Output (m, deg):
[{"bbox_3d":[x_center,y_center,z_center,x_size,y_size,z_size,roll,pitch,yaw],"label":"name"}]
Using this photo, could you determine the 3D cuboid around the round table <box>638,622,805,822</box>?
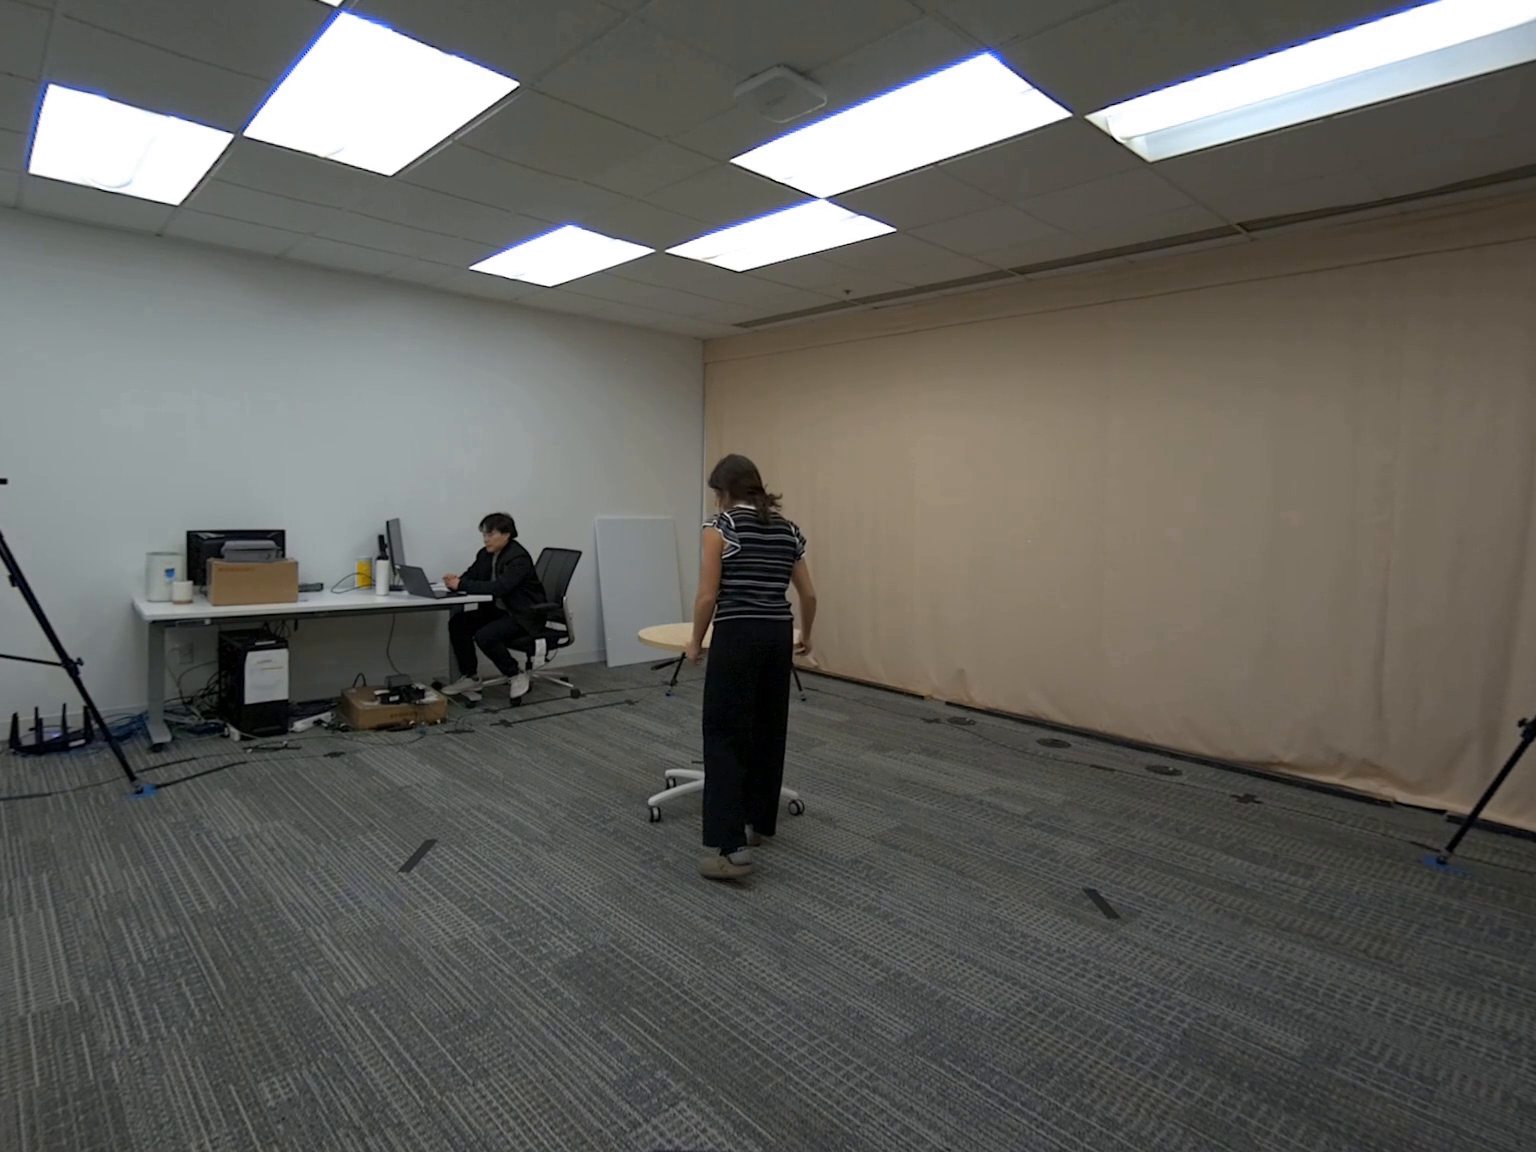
[{"bbox_3d":[-0.209,0.657,3.784,0.763,0.792,0.766,2,3,-1],"label":"round table"}]
